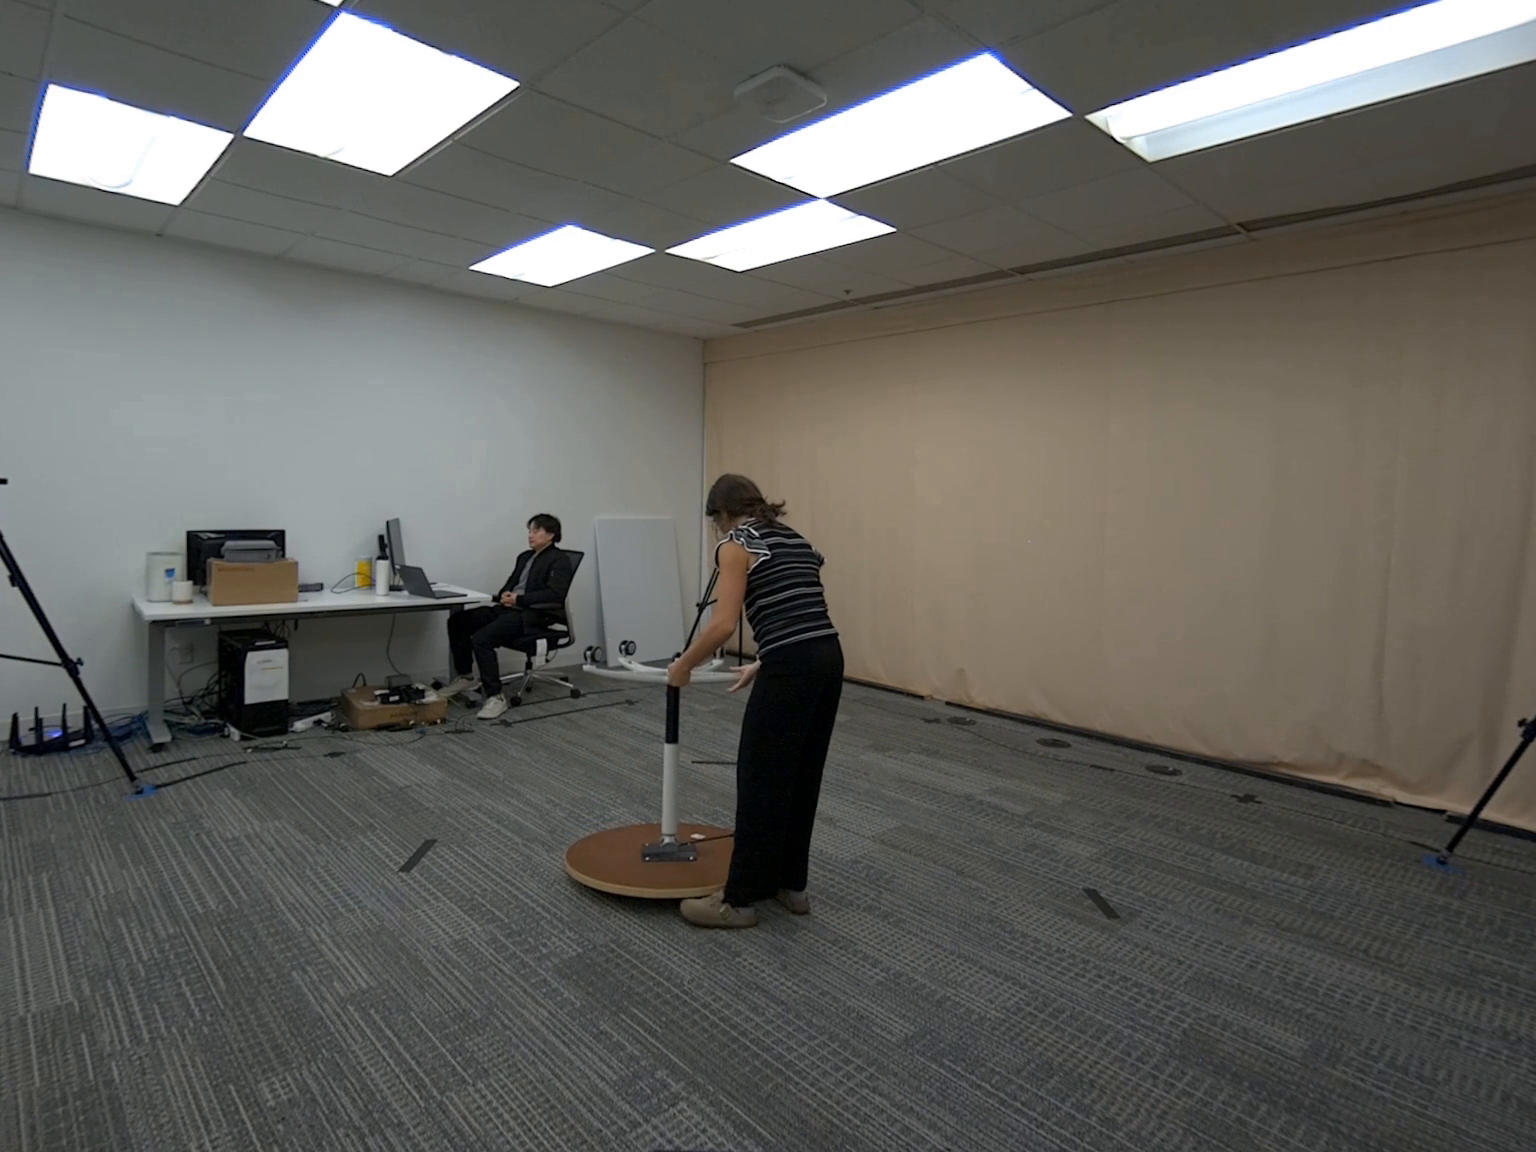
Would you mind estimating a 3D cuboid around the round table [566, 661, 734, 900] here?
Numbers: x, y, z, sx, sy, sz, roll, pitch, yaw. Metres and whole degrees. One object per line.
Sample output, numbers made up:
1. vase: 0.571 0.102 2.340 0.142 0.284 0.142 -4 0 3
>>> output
1. round table: -0.376 0.672 3.170 0.763 0.795 0.763 1 -1 -1
